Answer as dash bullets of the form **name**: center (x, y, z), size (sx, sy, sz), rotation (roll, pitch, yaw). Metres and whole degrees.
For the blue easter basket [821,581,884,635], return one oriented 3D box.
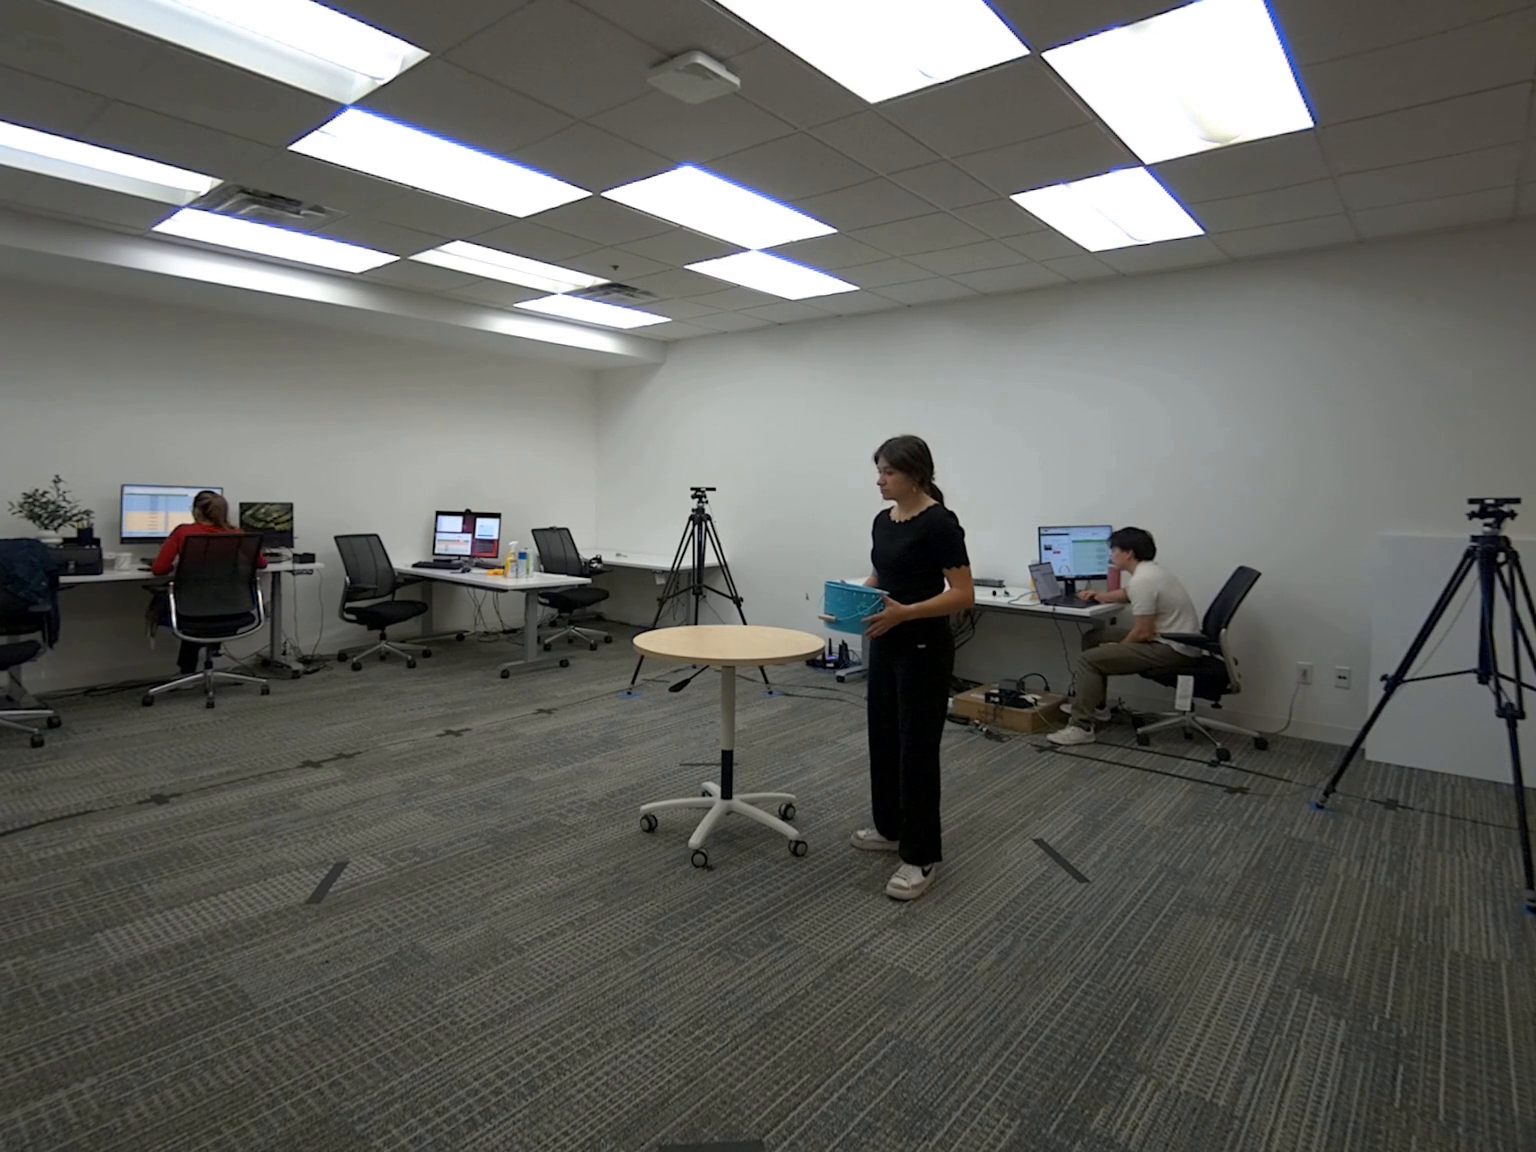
- **blue easter basket**: center (0.299, 0.115, 2.966), size (0.243, 0.155, 0.244), rotation (9, 3, -2)
